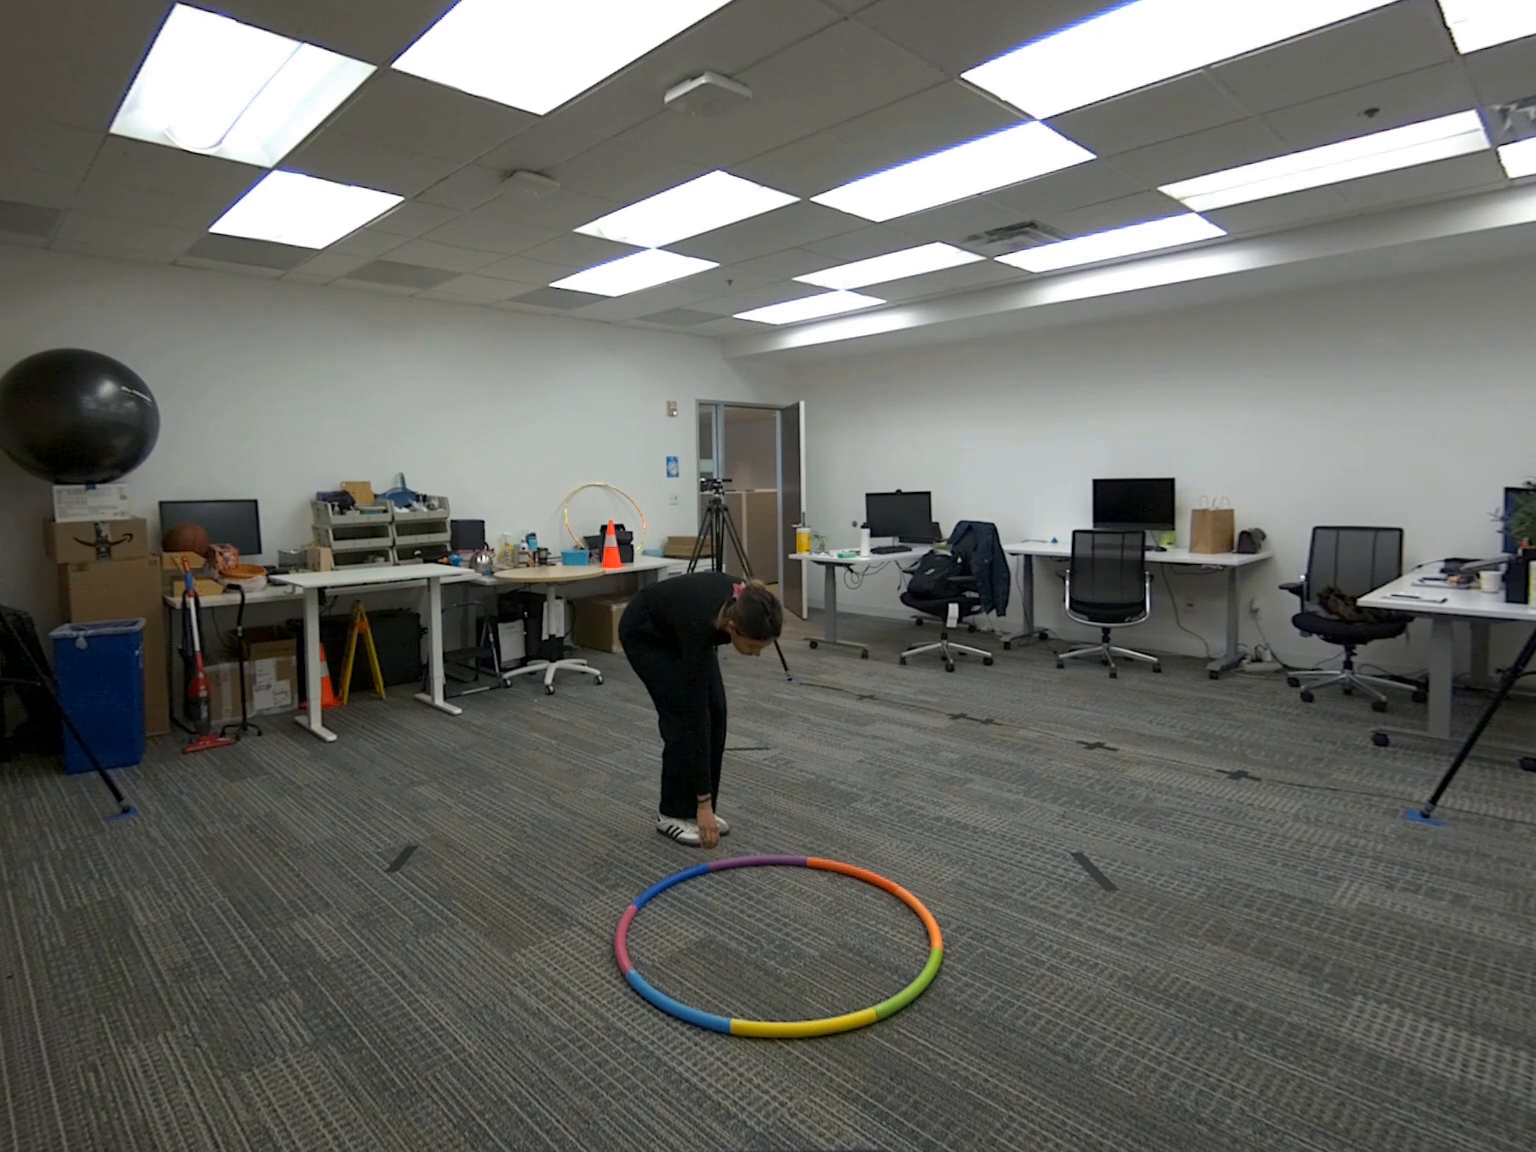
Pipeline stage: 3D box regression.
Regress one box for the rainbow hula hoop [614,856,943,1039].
[{"bbox_3d":[0.027,1.069,2.618,0.978,0.035,0.984,-2,6,-2],"label":"rainbow hula hoop"}]
